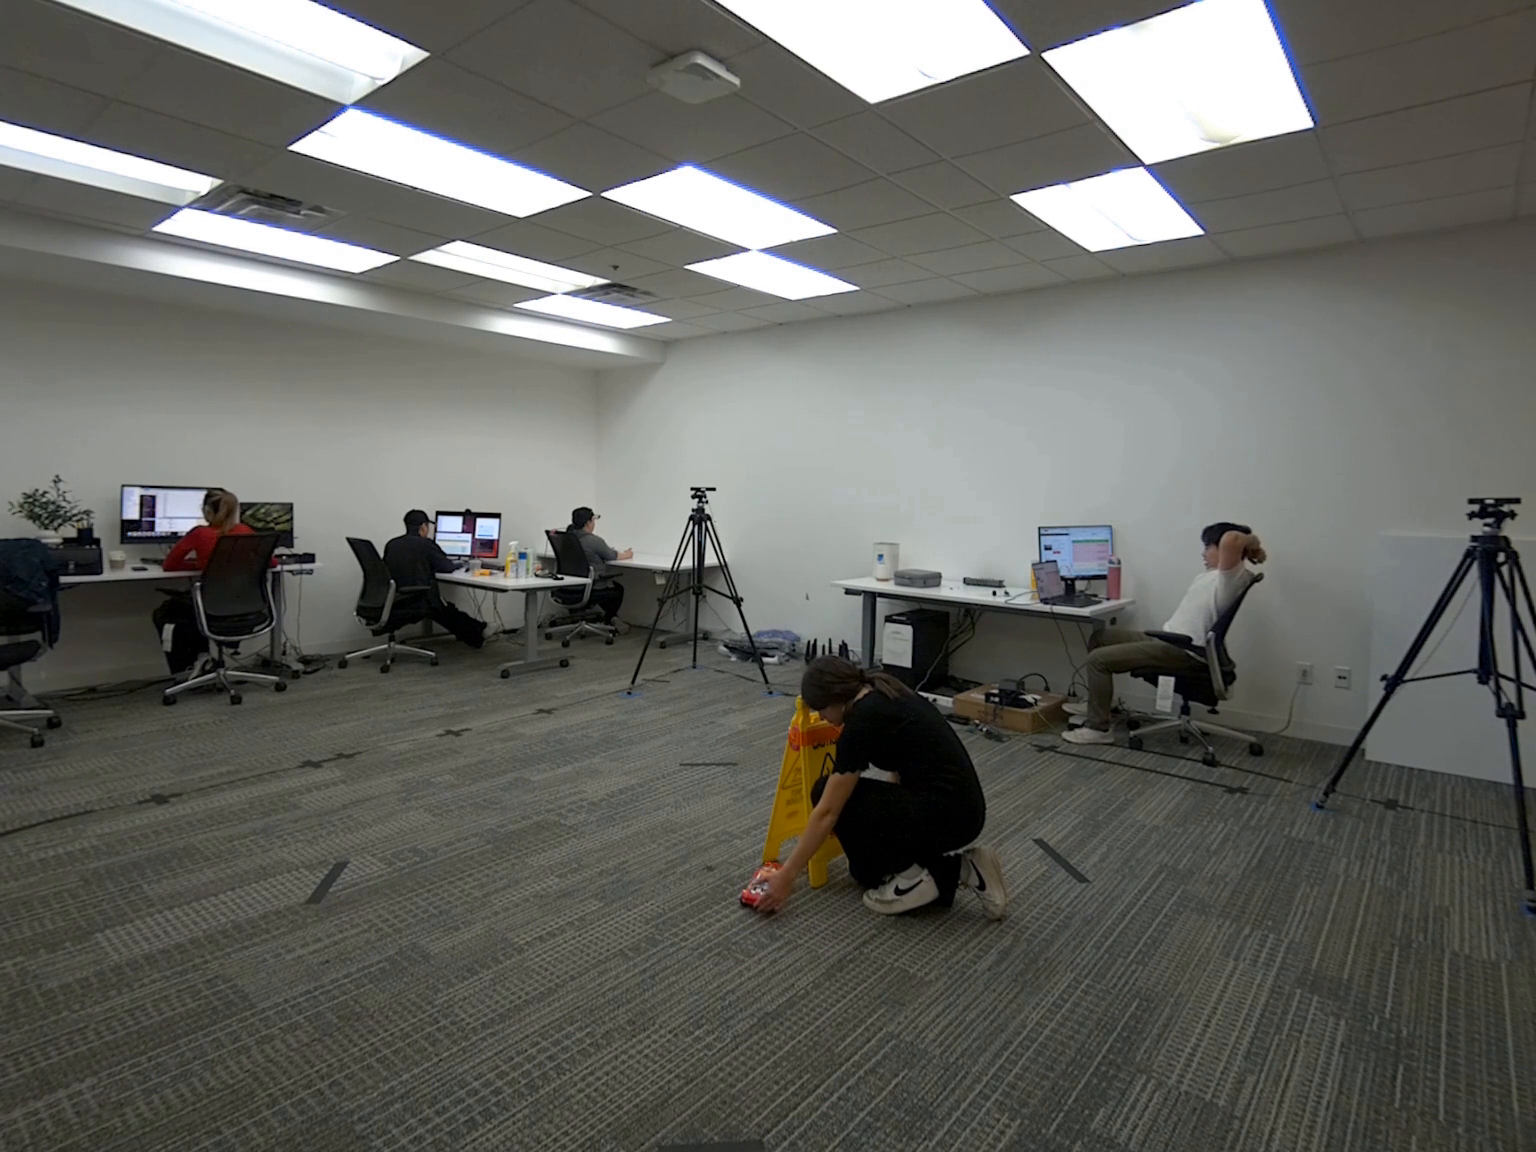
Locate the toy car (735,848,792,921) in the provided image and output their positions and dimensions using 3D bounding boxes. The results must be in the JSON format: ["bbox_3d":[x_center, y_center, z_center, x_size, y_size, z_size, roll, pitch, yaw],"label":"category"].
[{"bbox_3d":[-0.010,1.058,2.905,0.133,0.082,0.253,3,15,17],"label":"toy car"}]
